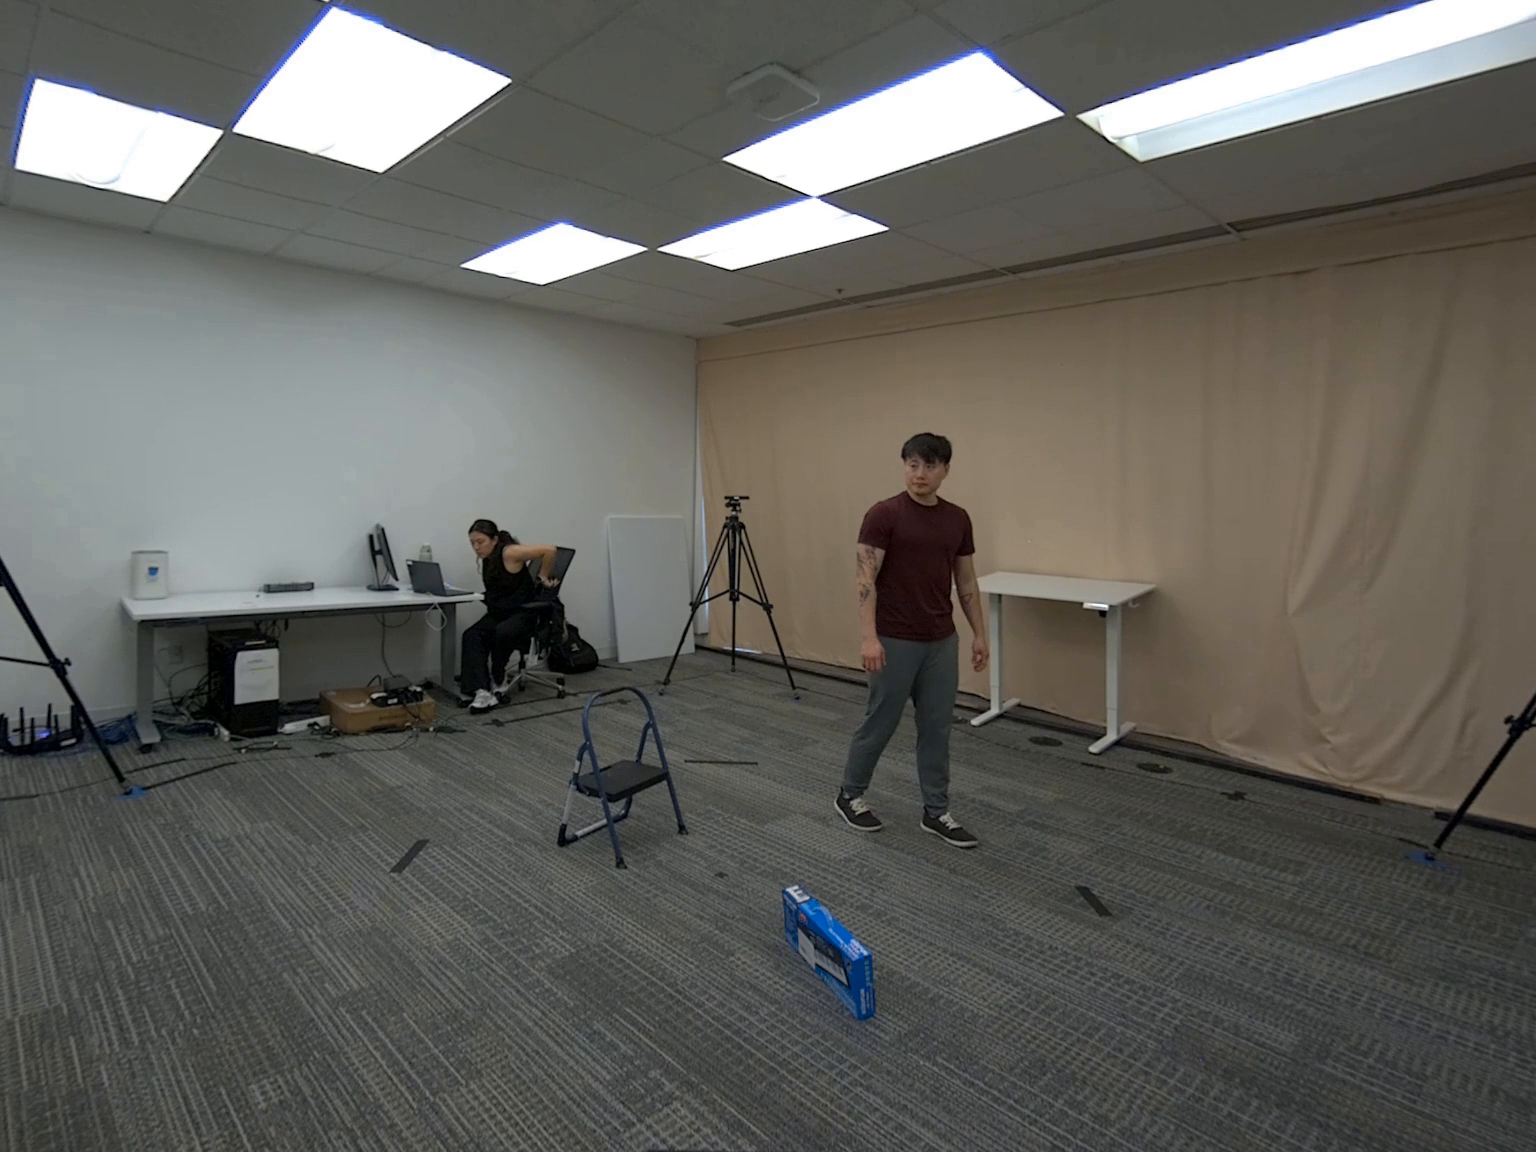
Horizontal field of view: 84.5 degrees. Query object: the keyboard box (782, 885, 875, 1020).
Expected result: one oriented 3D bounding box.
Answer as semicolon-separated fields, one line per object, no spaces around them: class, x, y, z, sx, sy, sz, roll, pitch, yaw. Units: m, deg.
keyboard box;0.161;1.085;2.460;0.058;0.175;0.446;-7;8;-23
